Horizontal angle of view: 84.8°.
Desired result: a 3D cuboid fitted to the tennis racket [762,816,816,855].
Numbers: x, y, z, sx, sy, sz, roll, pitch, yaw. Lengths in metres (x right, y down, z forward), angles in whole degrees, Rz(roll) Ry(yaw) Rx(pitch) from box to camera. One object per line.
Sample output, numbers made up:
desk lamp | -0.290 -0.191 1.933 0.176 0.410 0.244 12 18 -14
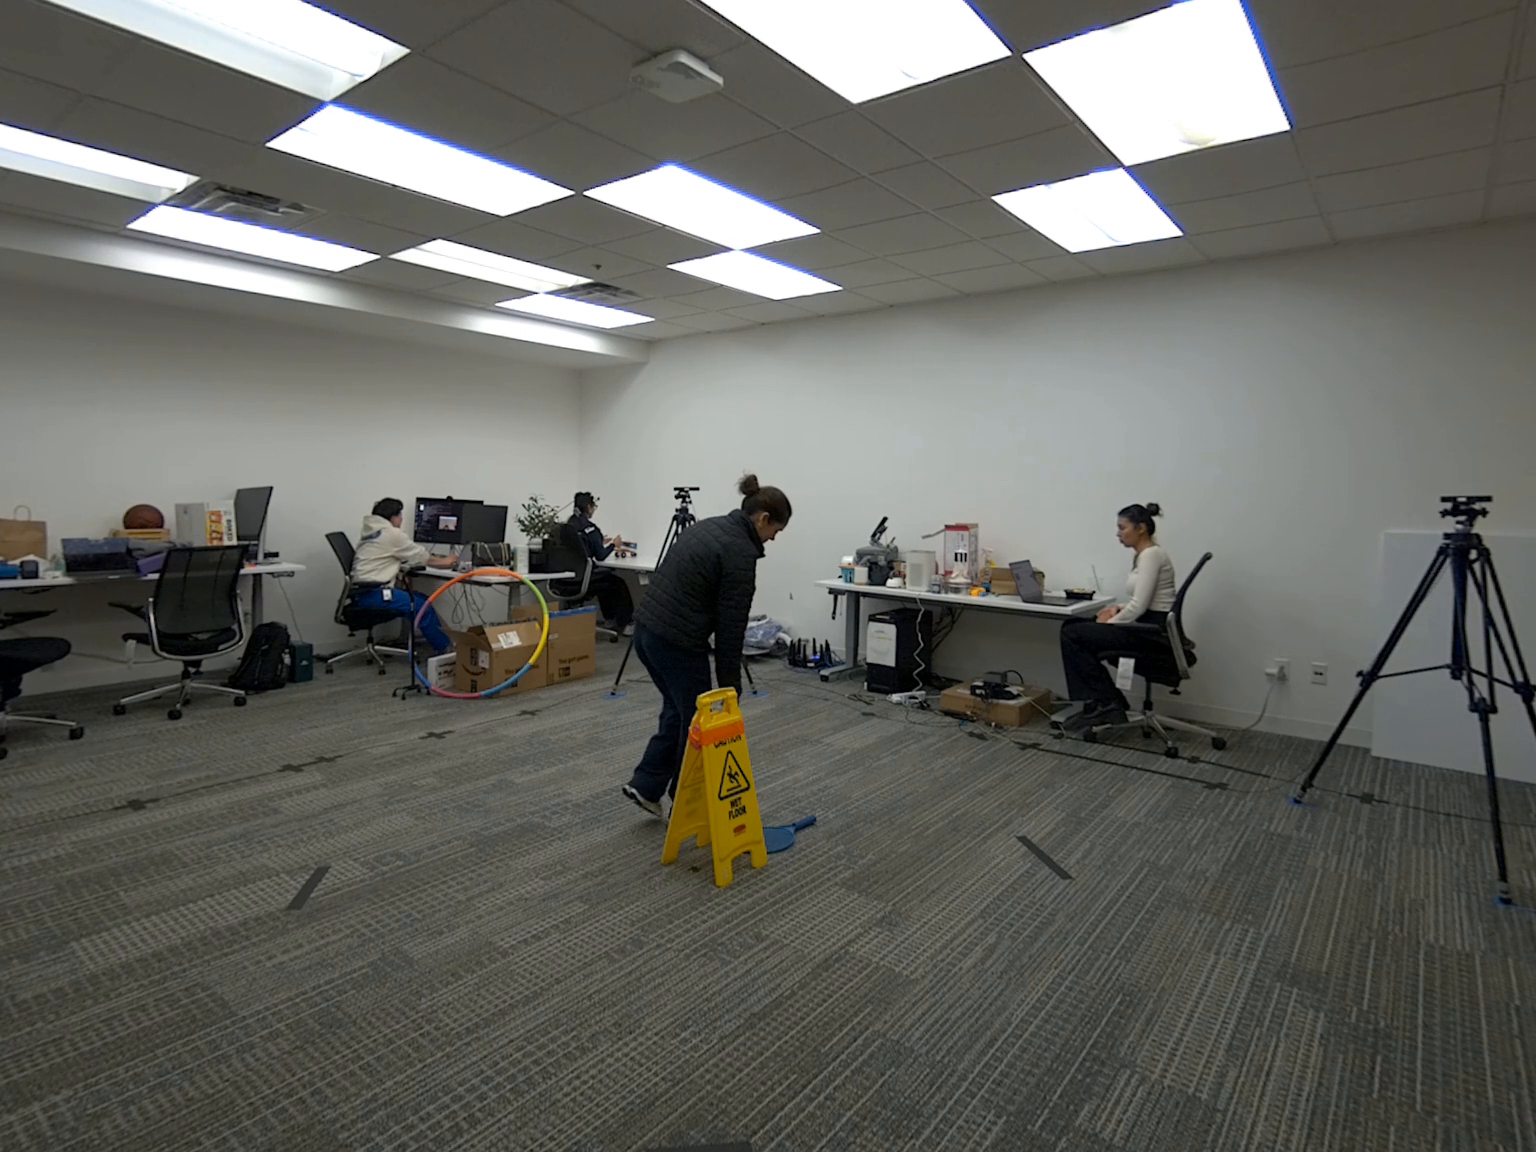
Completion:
tennis racket | 0.058 1.027 3.421 0.221 0.031 0.420 7 10 44
